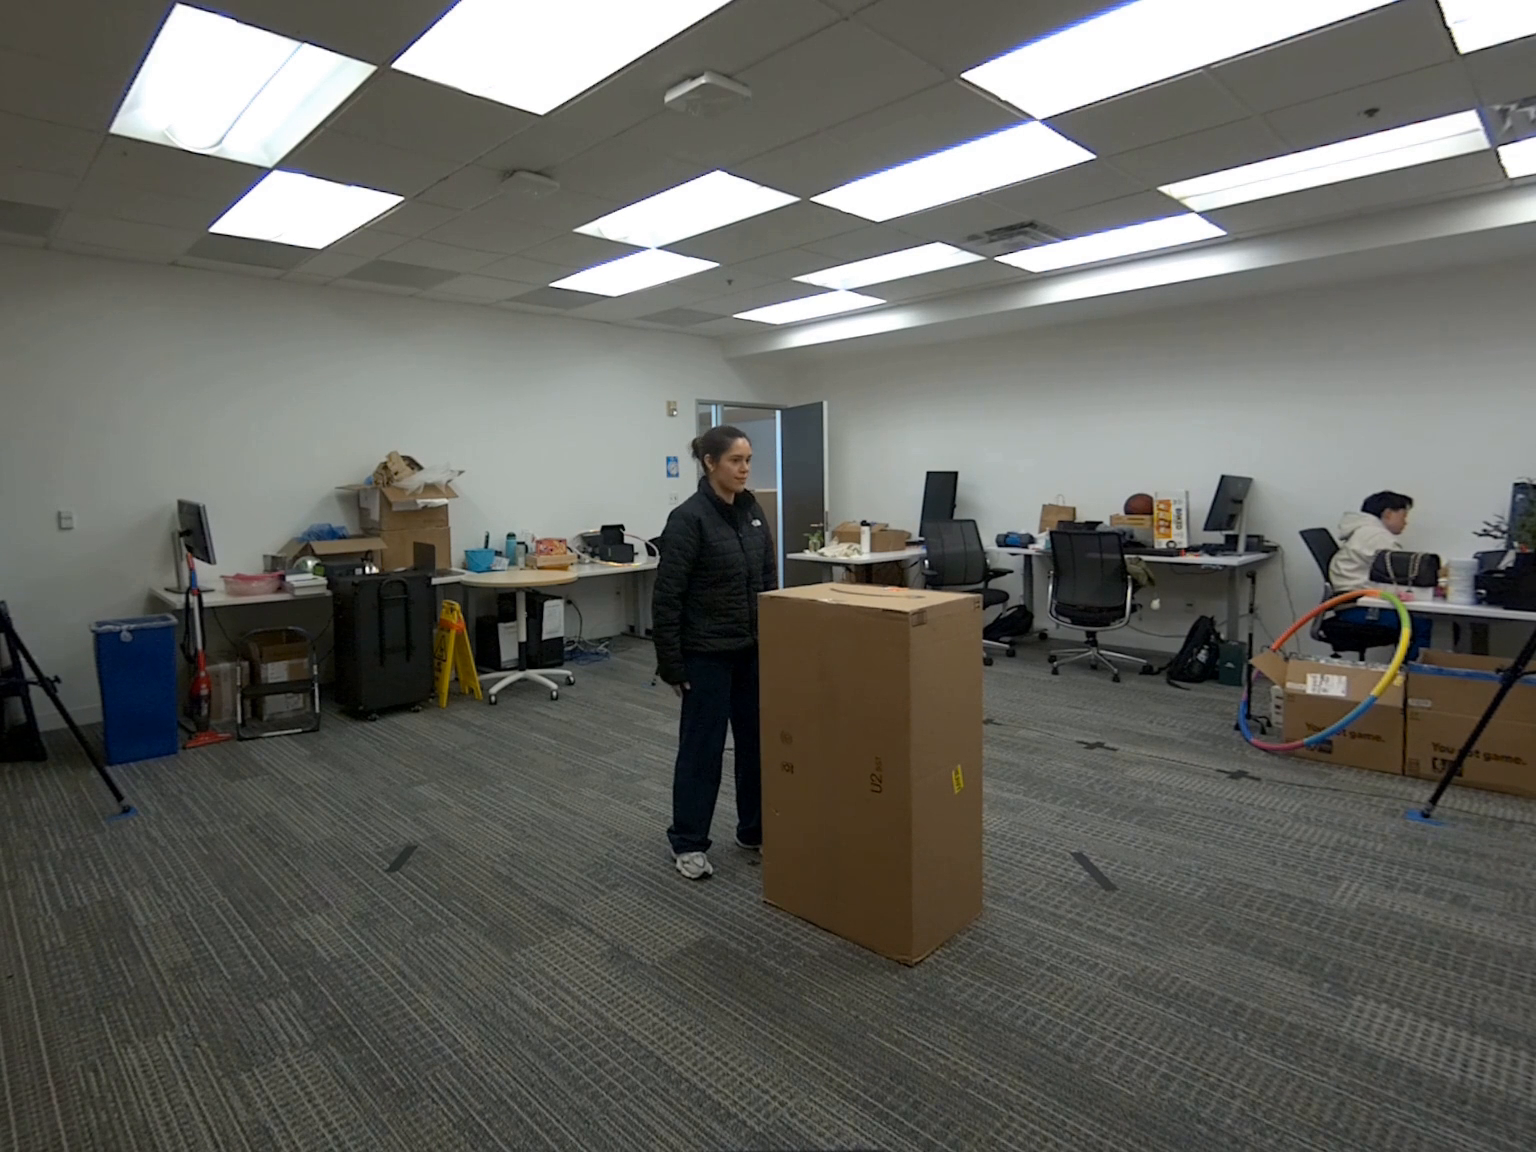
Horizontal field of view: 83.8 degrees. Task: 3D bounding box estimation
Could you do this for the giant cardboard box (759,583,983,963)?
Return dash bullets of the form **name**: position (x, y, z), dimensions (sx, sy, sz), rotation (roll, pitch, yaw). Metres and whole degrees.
- **giant cardboard box**: position (0.333, 0.570, 2.753), dimensions (0.595, 1.022, 0.415), rotation (3, 5, 43)
